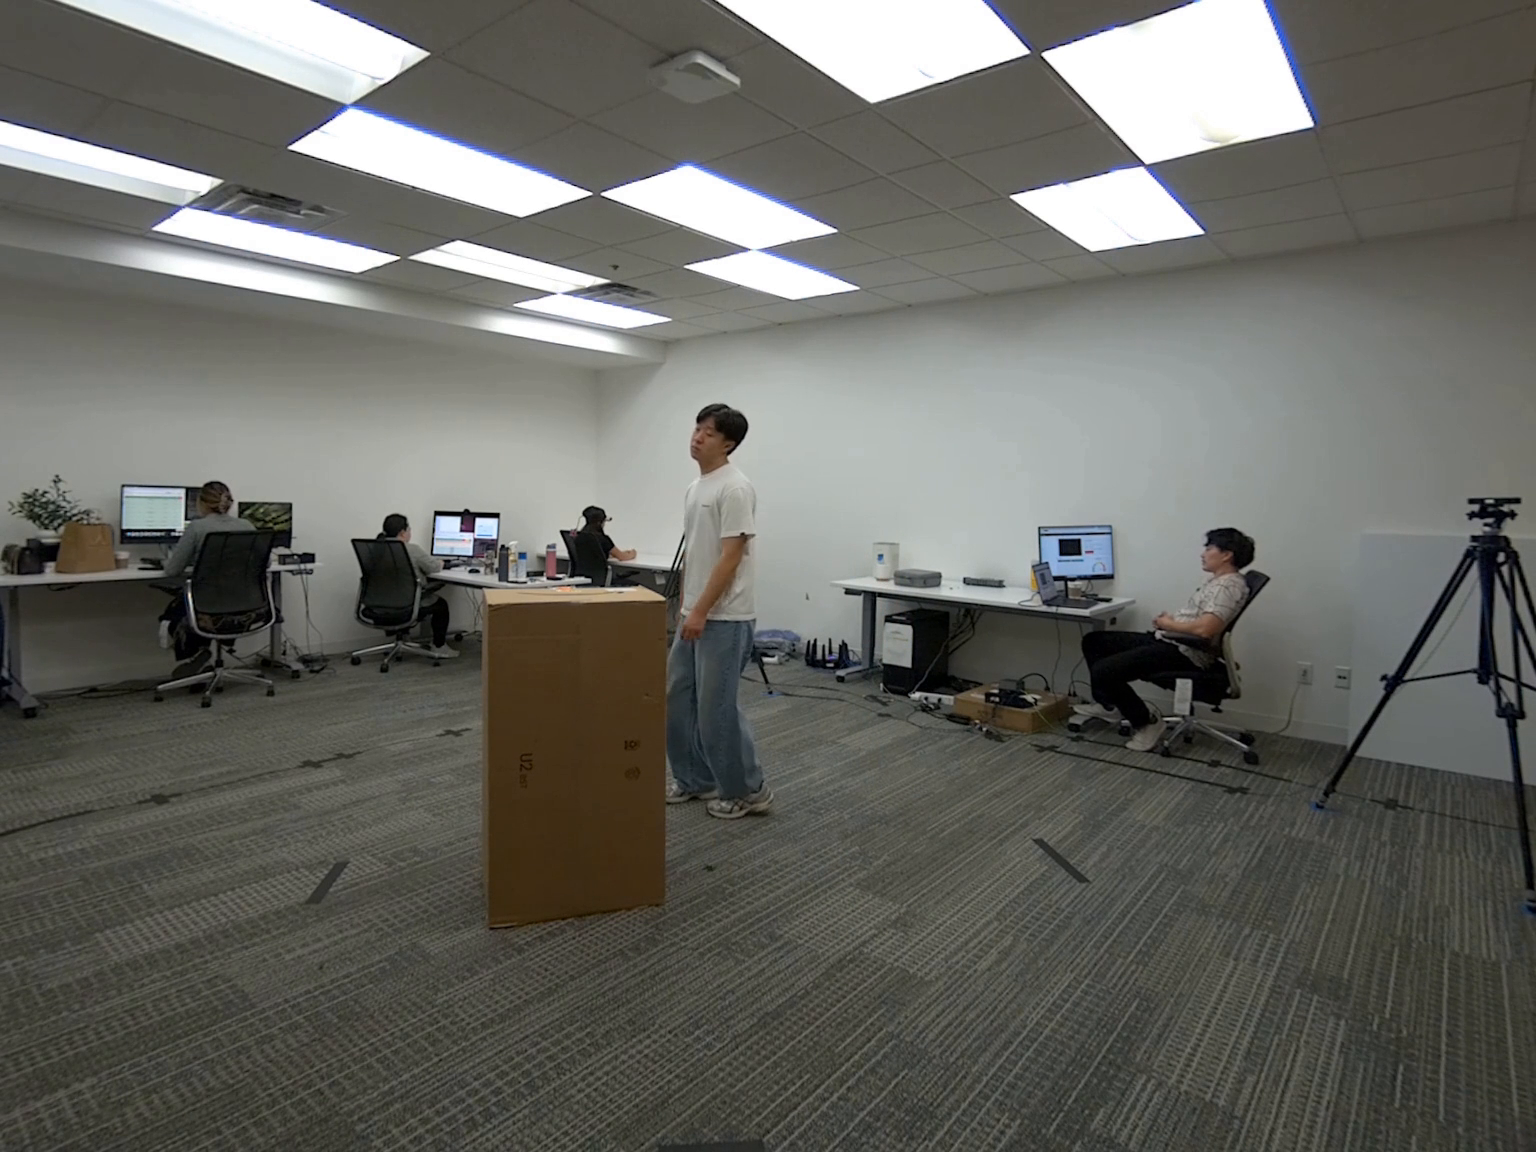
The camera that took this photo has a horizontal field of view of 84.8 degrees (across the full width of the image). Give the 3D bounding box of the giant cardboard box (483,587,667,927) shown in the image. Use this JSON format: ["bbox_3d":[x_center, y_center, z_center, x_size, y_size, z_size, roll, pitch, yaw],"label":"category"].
[{"bbox_3d":[-0.687,0.567,2.912,0.566,1.023,0.436,0,3,-20],"label":"giant cardboard box"}]
